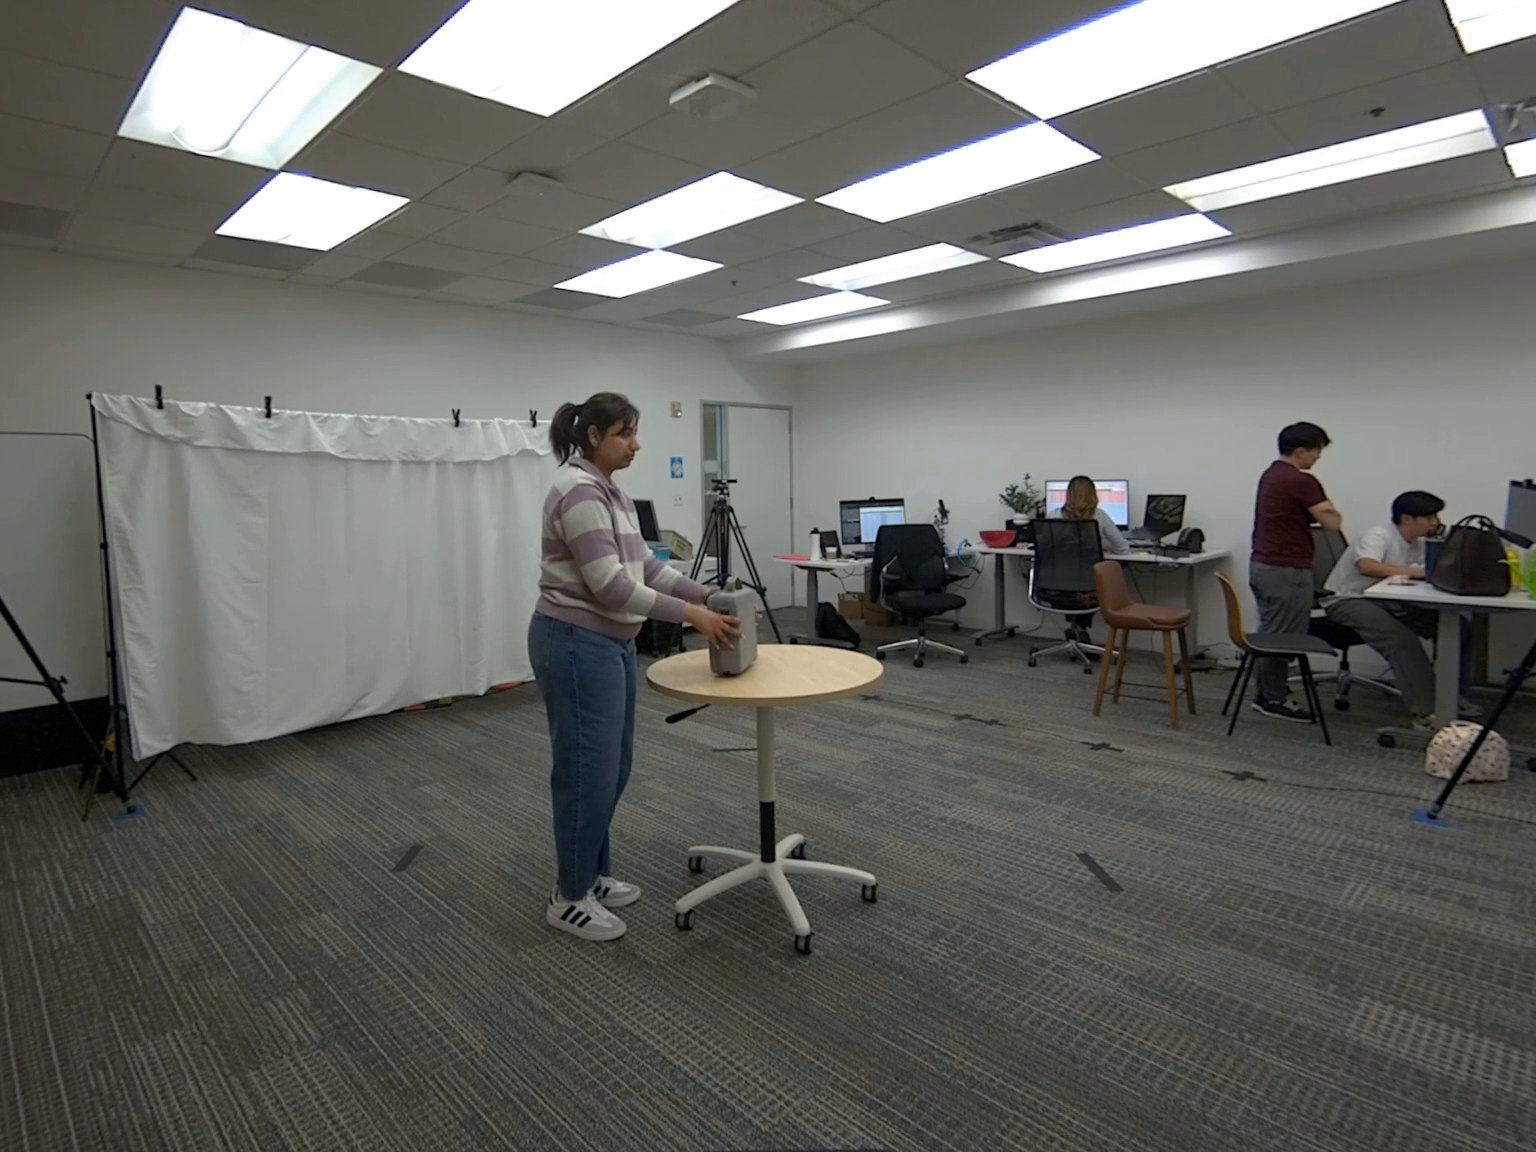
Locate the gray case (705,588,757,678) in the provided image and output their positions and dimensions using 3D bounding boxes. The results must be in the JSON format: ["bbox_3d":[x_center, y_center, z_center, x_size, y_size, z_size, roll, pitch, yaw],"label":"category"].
[{"bbox_3d":[-0.110,0.170,2.754,0.106,0.260,0.254,-2,4,12],"label":"gray case"}]
